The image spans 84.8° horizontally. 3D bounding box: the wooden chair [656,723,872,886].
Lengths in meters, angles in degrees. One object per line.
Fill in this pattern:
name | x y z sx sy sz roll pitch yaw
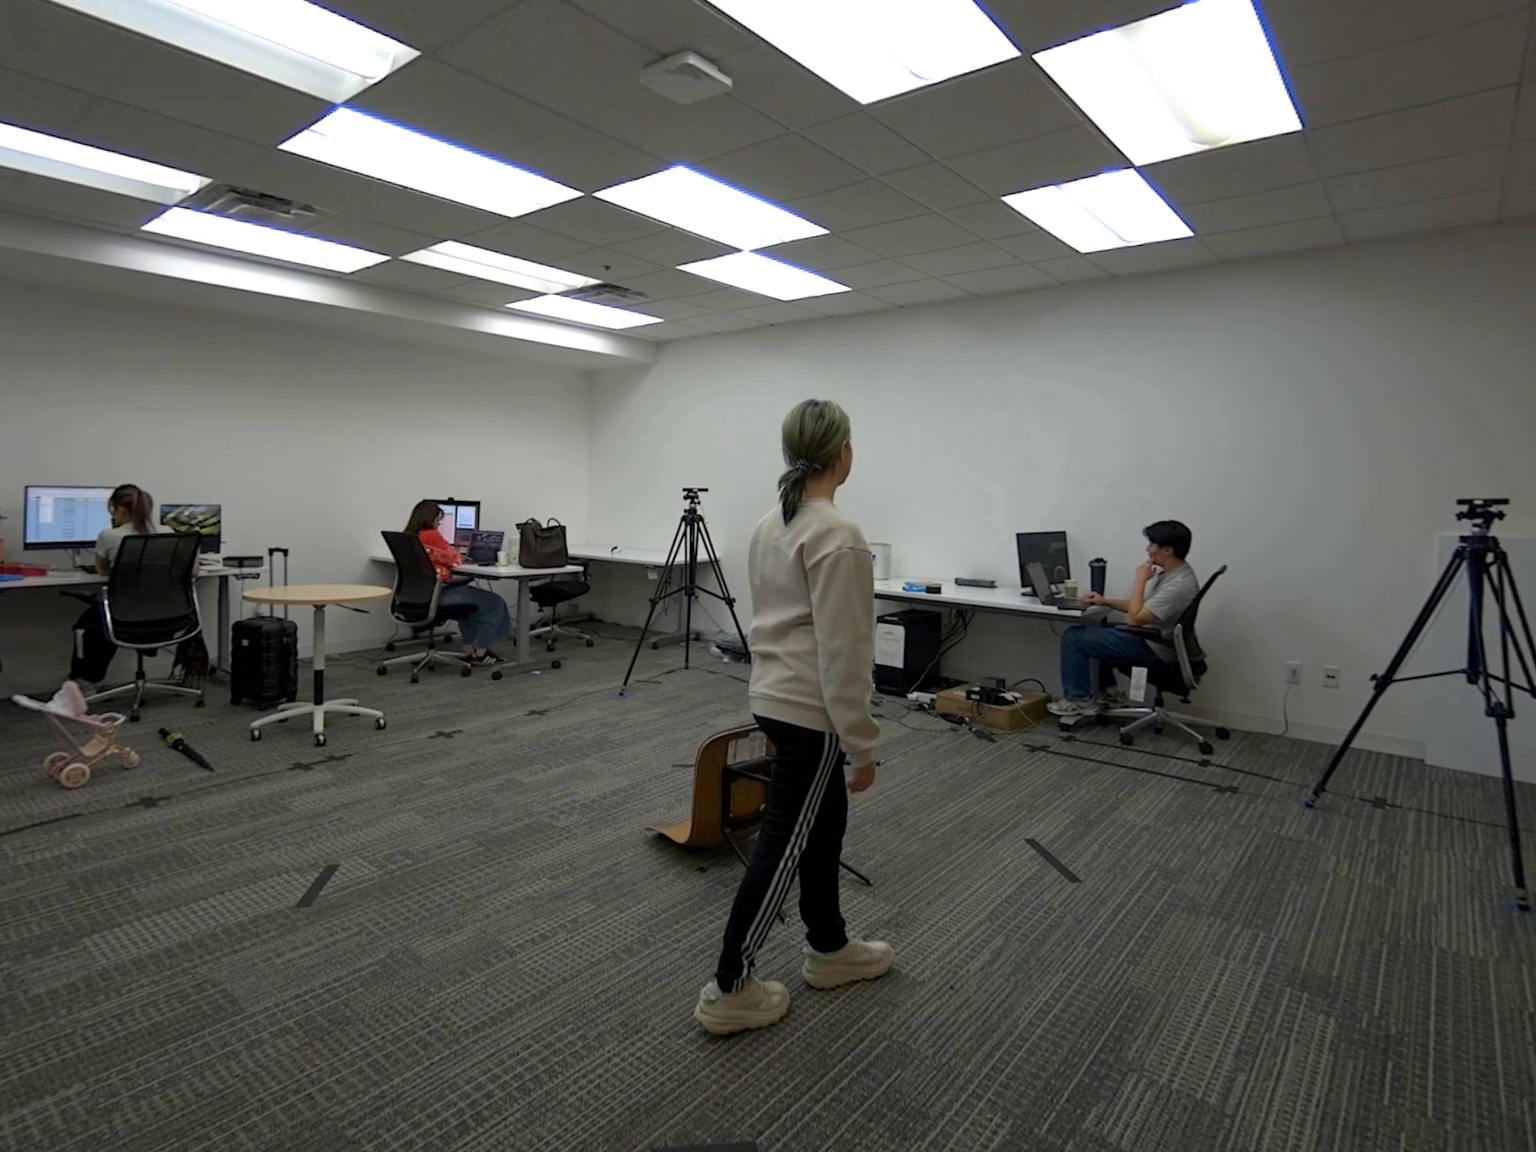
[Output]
wooden chair | -0.078 0.810 3.162 0.463 0.522 0.907 -2 4 -43
